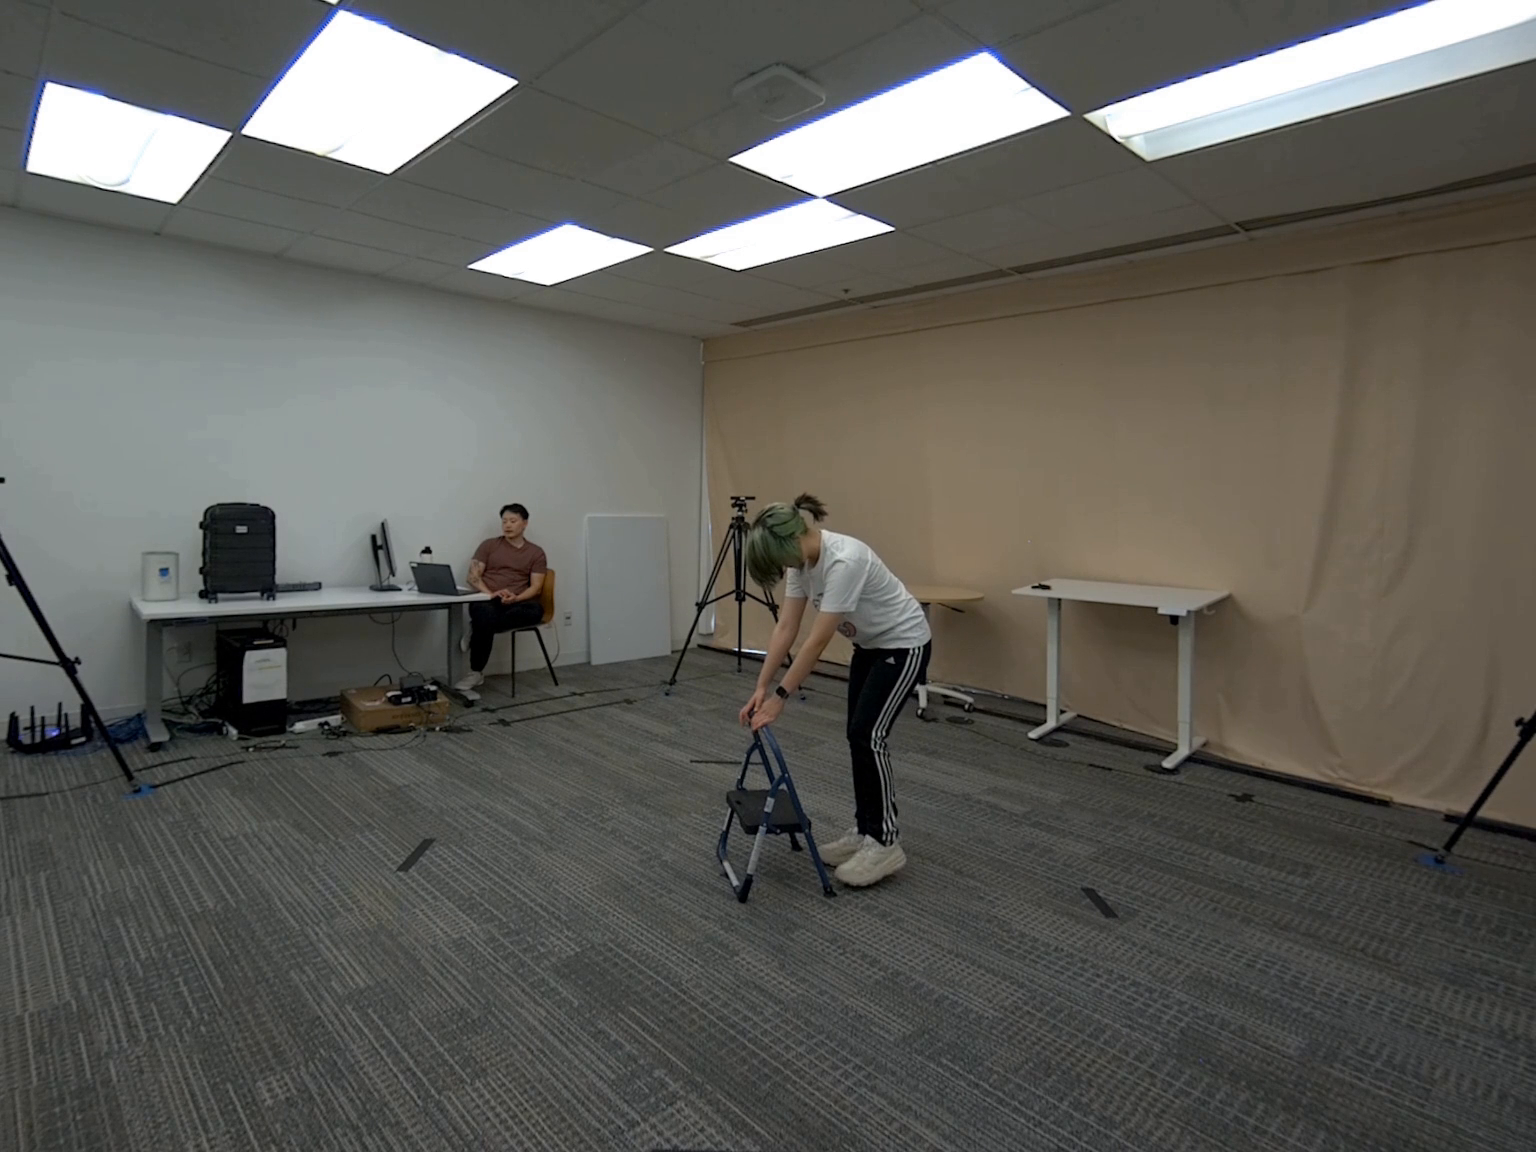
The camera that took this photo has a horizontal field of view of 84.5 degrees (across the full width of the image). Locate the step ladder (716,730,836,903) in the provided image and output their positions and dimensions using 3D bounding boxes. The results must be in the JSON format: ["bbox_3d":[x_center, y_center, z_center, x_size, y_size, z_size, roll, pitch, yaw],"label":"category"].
[{"bbox_3d":[0.019,0.808,3.104,0.345,0.605,0.436,1,3,-15],"label":"step ladder"}]
